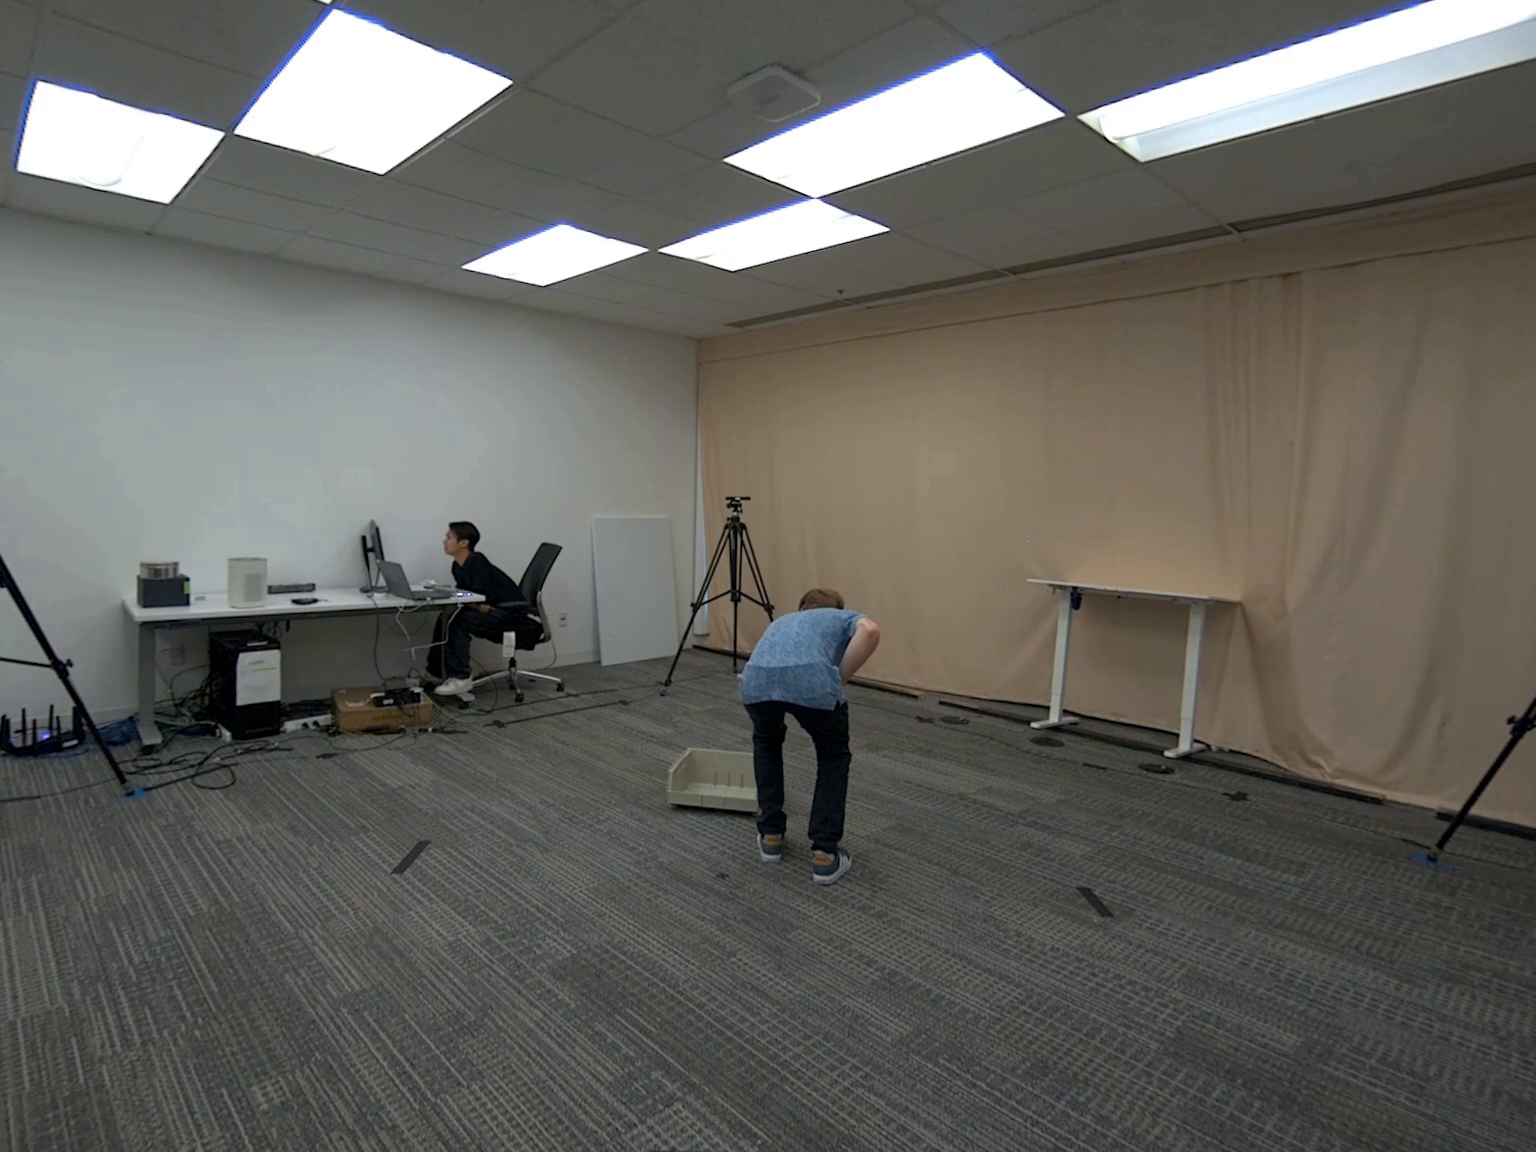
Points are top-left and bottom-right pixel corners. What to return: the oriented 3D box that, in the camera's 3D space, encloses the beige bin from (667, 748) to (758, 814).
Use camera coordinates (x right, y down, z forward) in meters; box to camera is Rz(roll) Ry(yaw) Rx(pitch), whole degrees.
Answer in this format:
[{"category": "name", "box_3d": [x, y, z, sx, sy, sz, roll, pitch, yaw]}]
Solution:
[{"category": "beige bin", "box_3d": [-0.221, 0.948, 3.878, 0.426, 0.188, 0.375, 2, 4, 10]}]
